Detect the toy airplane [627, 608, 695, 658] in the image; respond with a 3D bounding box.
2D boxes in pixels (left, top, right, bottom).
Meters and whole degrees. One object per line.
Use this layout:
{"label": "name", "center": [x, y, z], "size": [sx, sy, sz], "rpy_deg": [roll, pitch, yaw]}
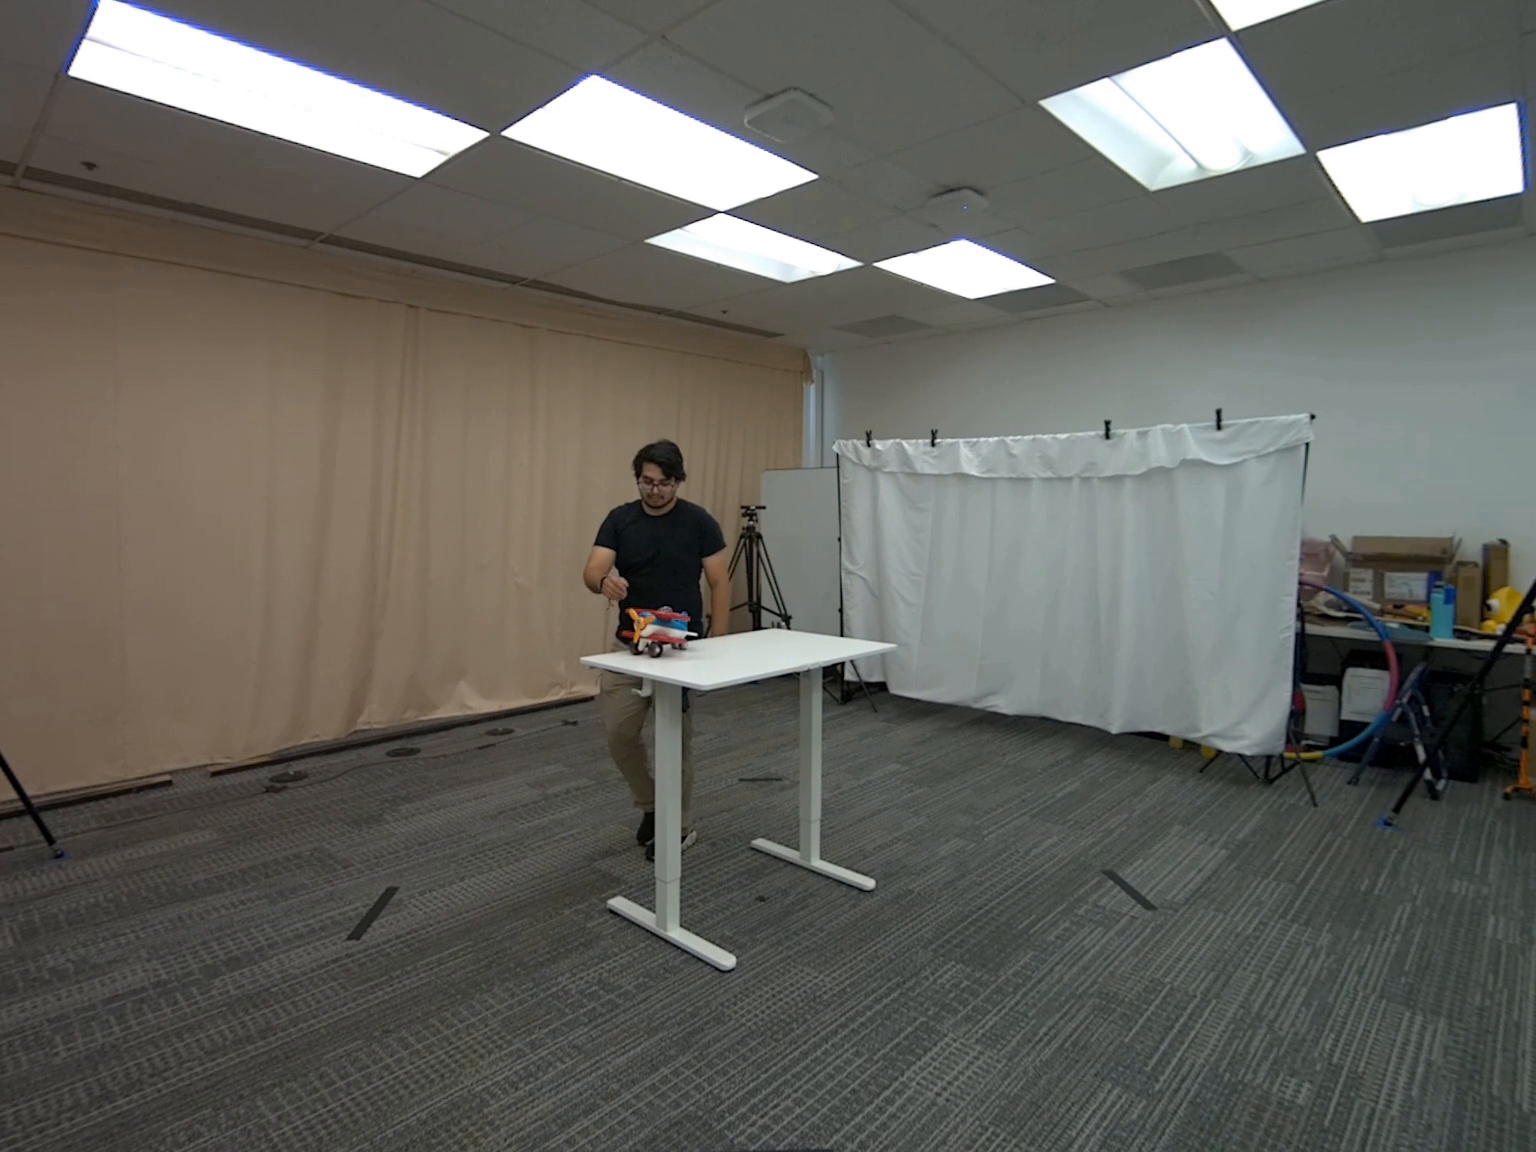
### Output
{"label": "toy airplane", "center": [-0.376, 0.186, 2.912], "size": [0.253, 0.156, 0.258], "rpy_deg": [2, 5, 7]}
